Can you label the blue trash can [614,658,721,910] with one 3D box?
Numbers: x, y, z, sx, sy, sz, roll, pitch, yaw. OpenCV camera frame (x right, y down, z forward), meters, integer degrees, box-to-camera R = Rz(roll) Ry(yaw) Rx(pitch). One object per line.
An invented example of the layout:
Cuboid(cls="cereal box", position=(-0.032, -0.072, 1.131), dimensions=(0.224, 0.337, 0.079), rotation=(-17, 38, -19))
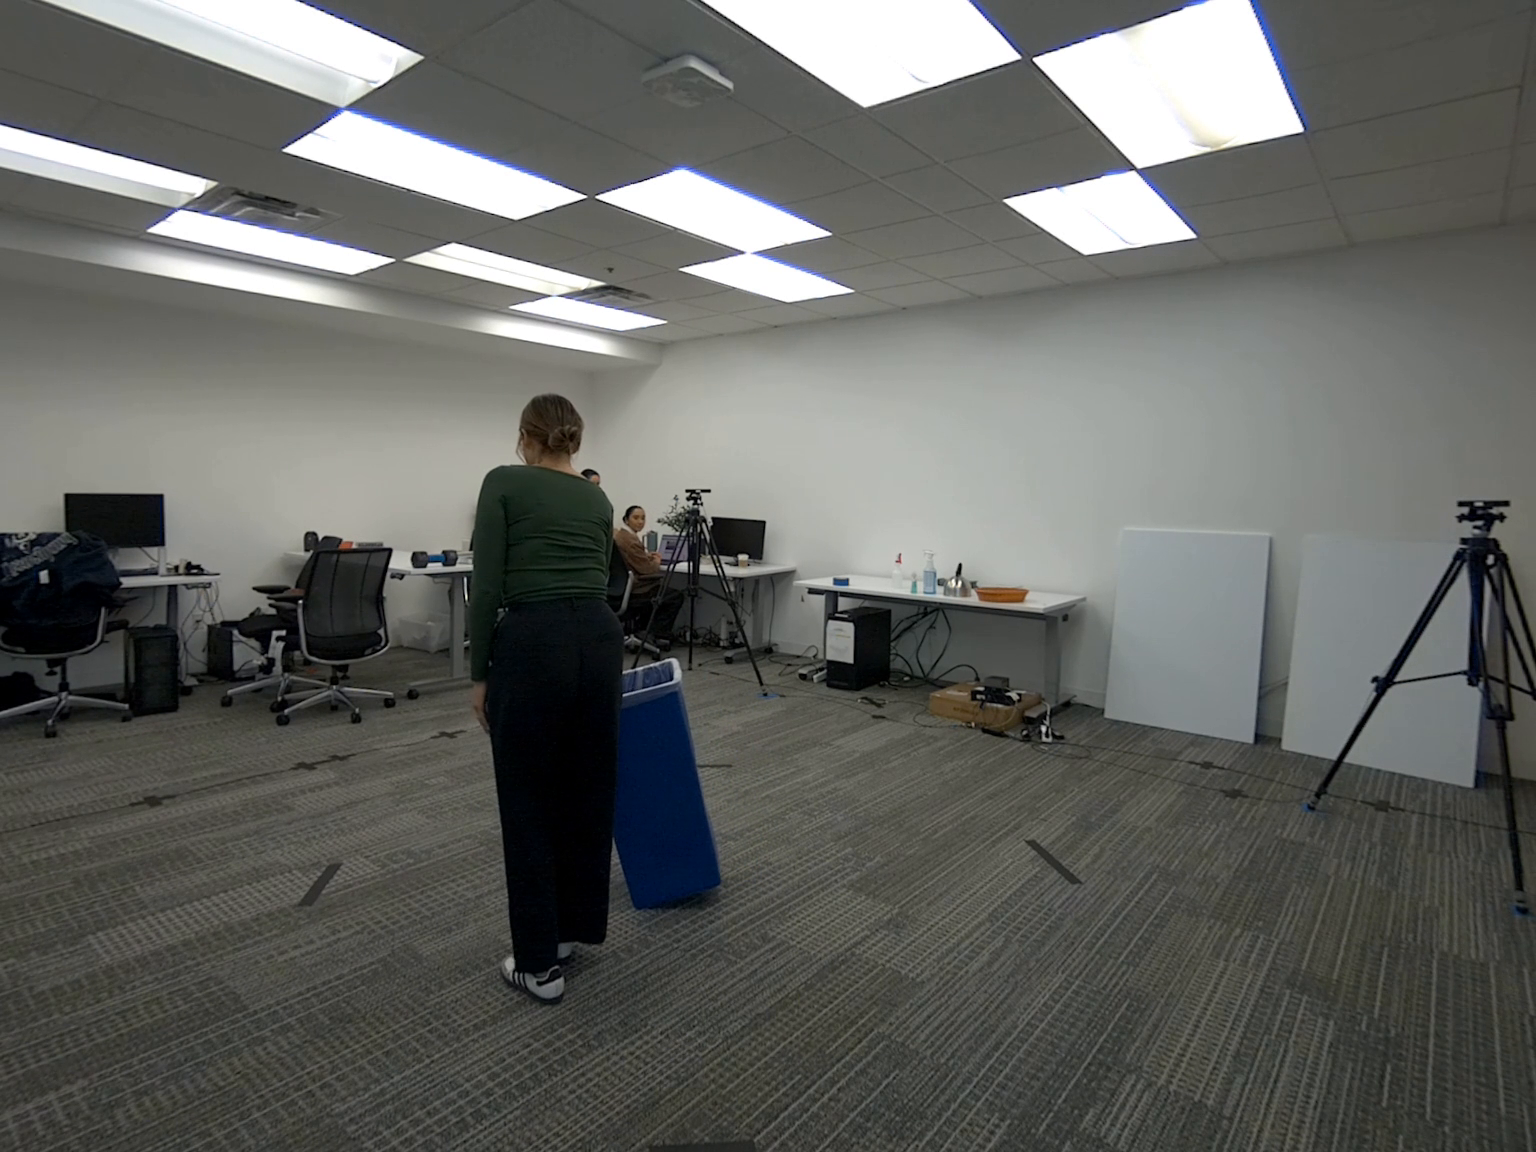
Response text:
Cuboid(cls="blue trash can", position=(-0.411, 0.707, 2.940), dimensions=(0.372, 0.710, 0.382), rotation=(-15, 5, -7))
